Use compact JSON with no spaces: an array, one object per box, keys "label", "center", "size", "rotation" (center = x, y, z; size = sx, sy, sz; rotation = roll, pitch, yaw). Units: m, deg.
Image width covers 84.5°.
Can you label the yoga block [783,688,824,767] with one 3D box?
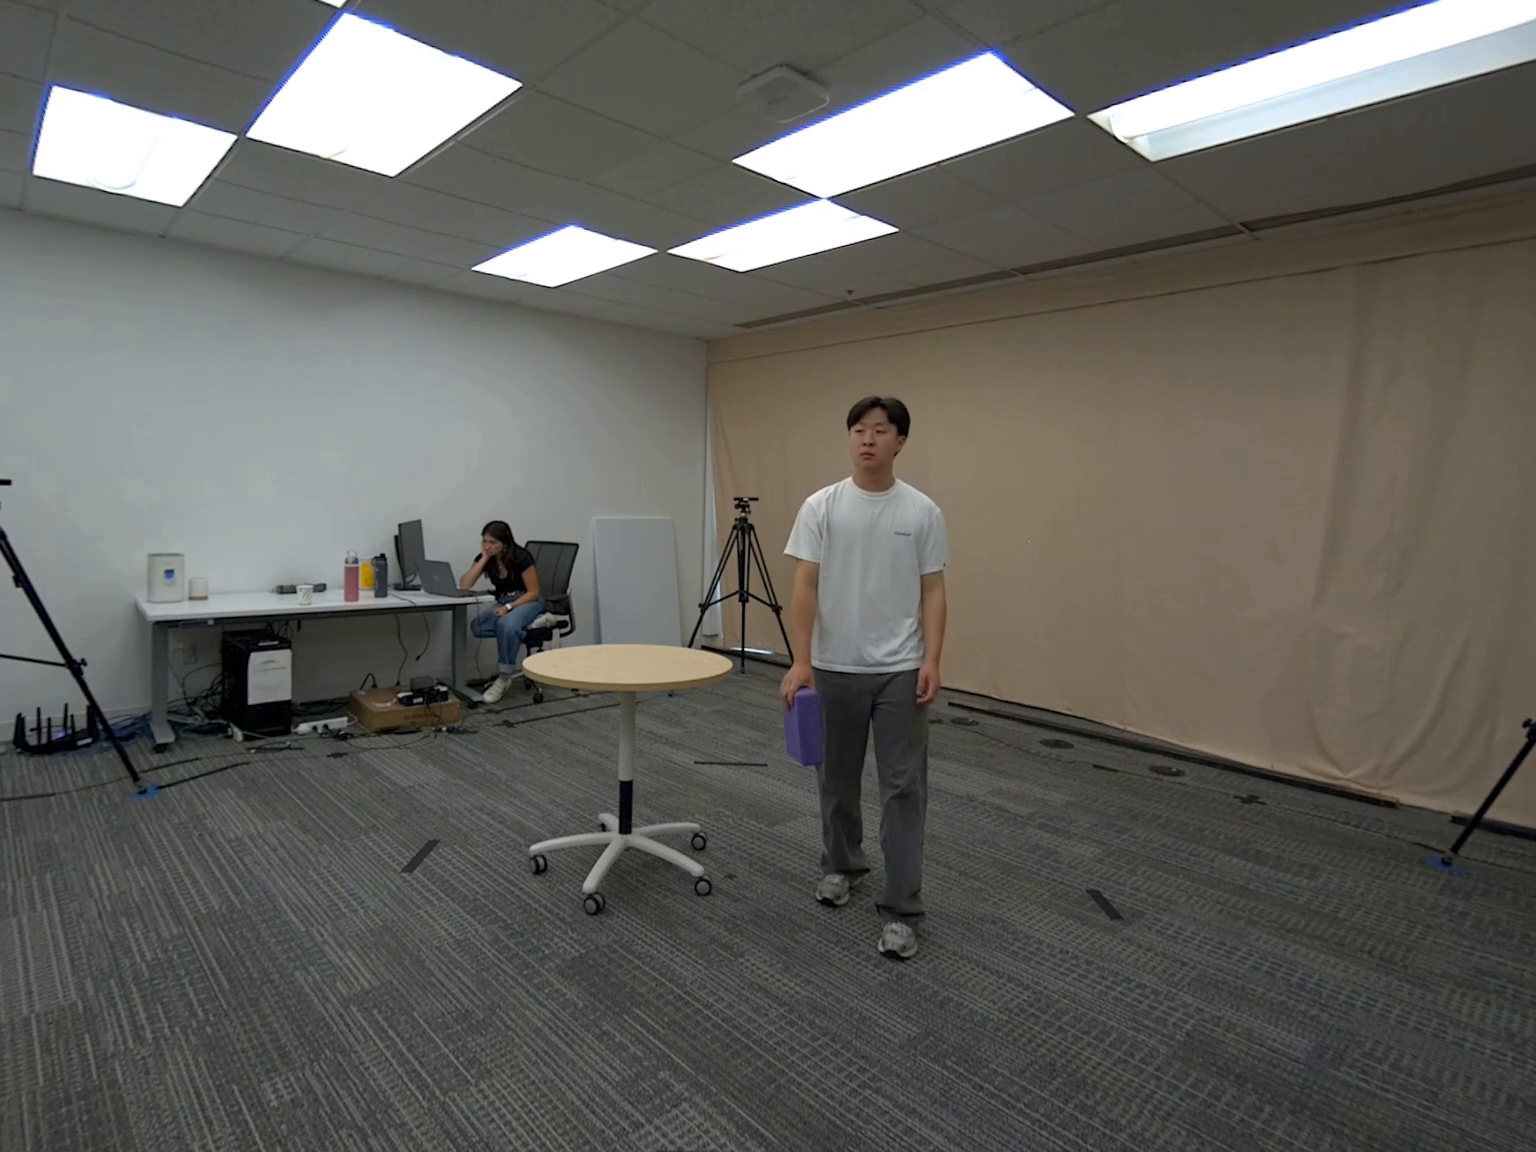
[{"label":"yoga block","center":[0.093,0.469,2.684],"size":[0.076,0.229,0.150],"rotation":[-3,3,-9]}]
